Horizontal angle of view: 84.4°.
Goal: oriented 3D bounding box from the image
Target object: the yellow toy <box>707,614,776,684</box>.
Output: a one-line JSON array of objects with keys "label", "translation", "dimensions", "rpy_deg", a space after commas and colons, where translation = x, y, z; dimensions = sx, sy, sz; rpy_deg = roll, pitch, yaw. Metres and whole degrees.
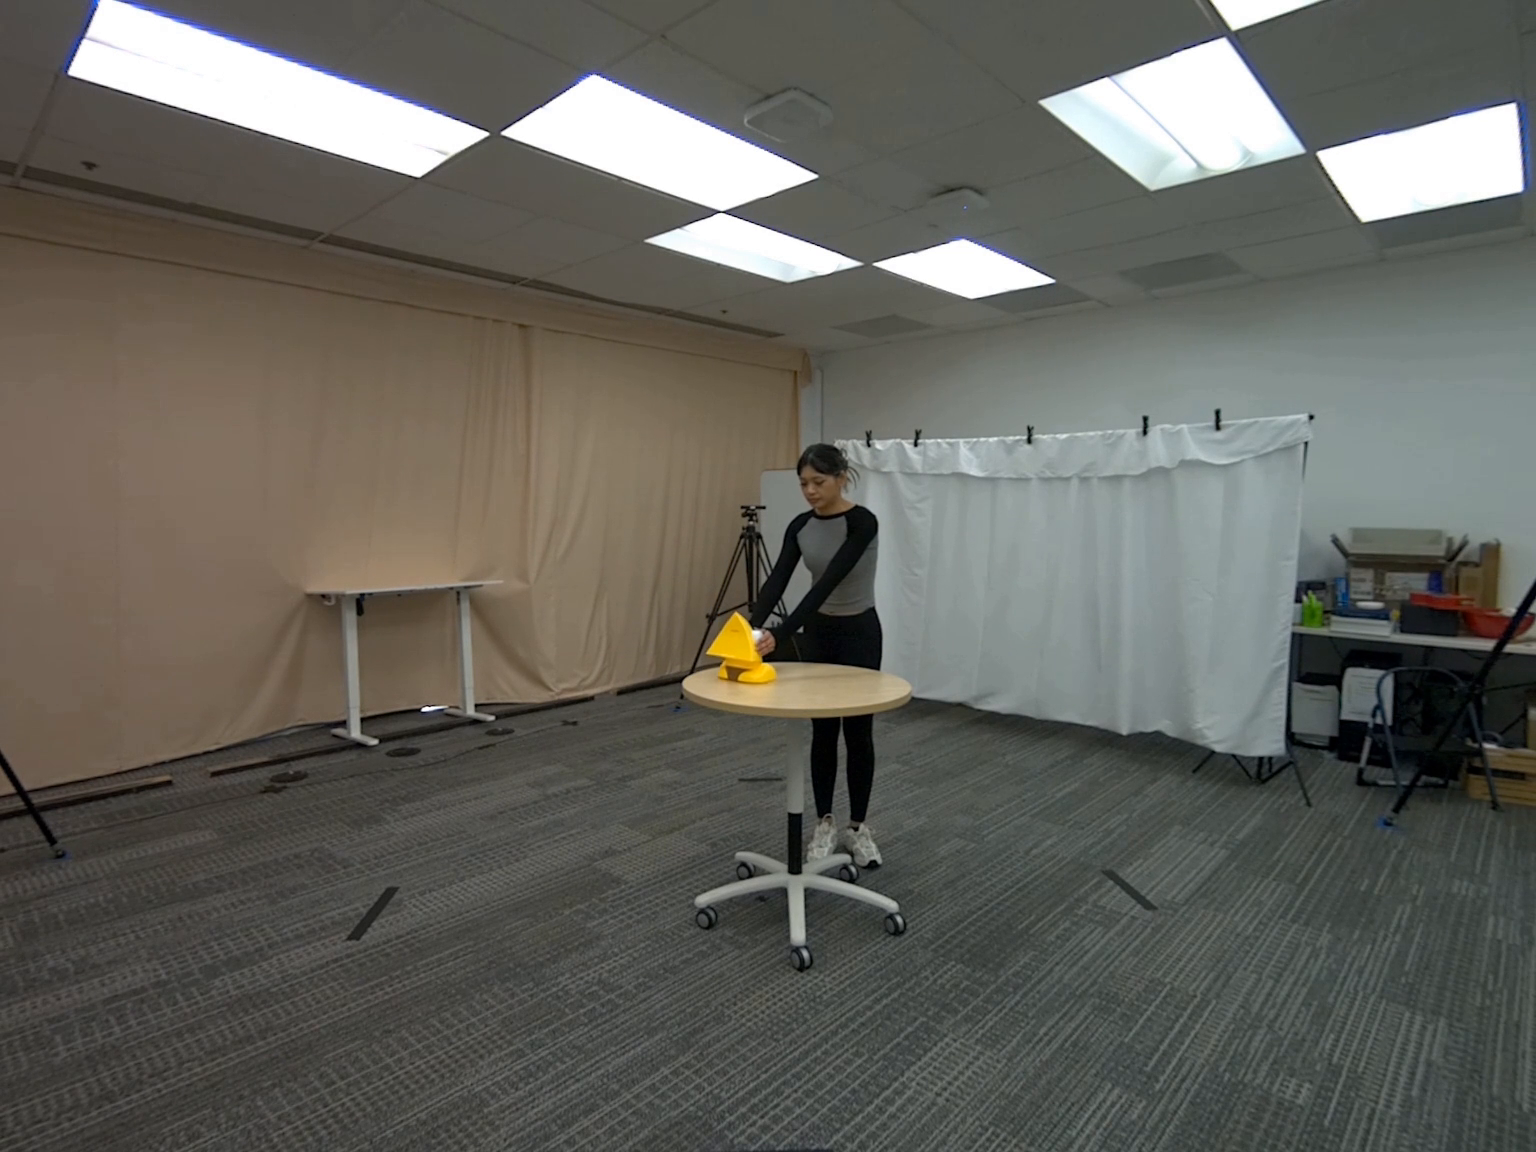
[{"label": "yellow toy", "translation": [-0.066, 0.234, 2.907], "dimensions": [0.211, 0.230, 0.187], "rpy_deg": [4, 4, 38]}]
